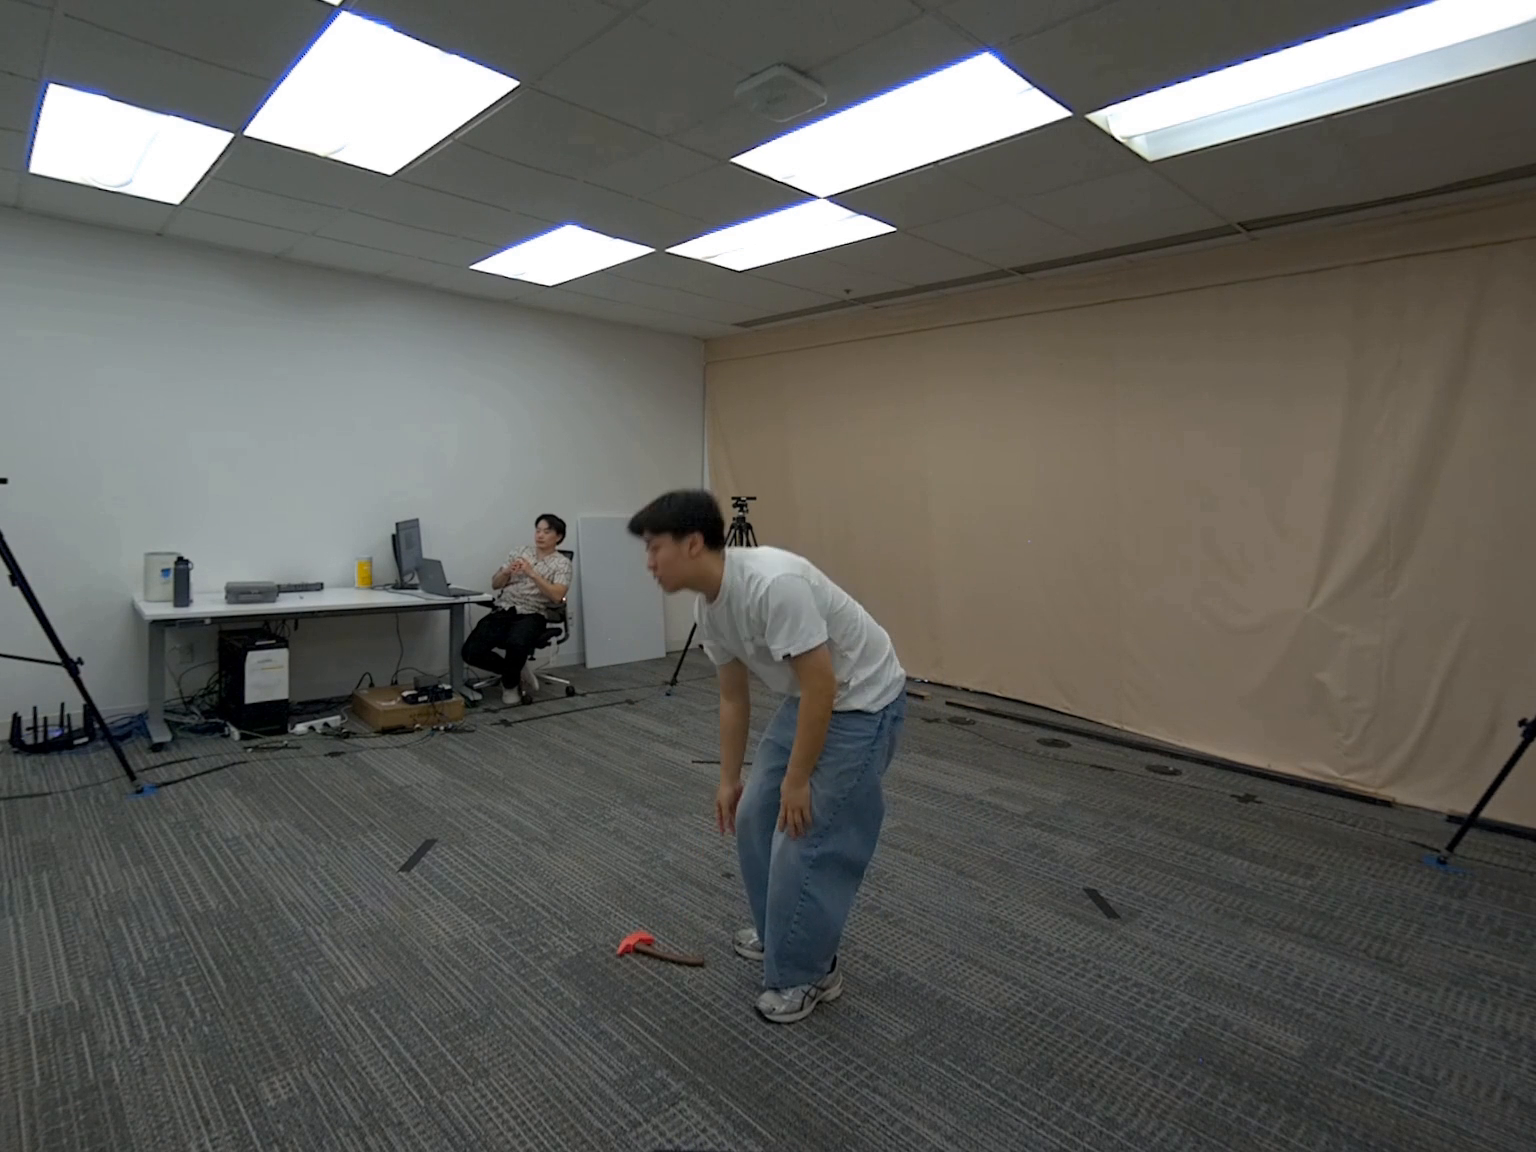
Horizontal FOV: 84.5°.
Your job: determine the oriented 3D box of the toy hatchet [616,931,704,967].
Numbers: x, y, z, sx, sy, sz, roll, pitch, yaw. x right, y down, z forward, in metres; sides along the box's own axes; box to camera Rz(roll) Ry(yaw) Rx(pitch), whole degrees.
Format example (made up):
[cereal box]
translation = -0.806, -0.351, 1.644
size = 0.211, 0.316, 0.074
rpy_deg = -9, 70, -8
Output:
[toy hatchet]
translation = -0.323, 1.141, 2.568
size = 0.272, 0.029, 0.130
rpy_deg = 5, 5, 10
